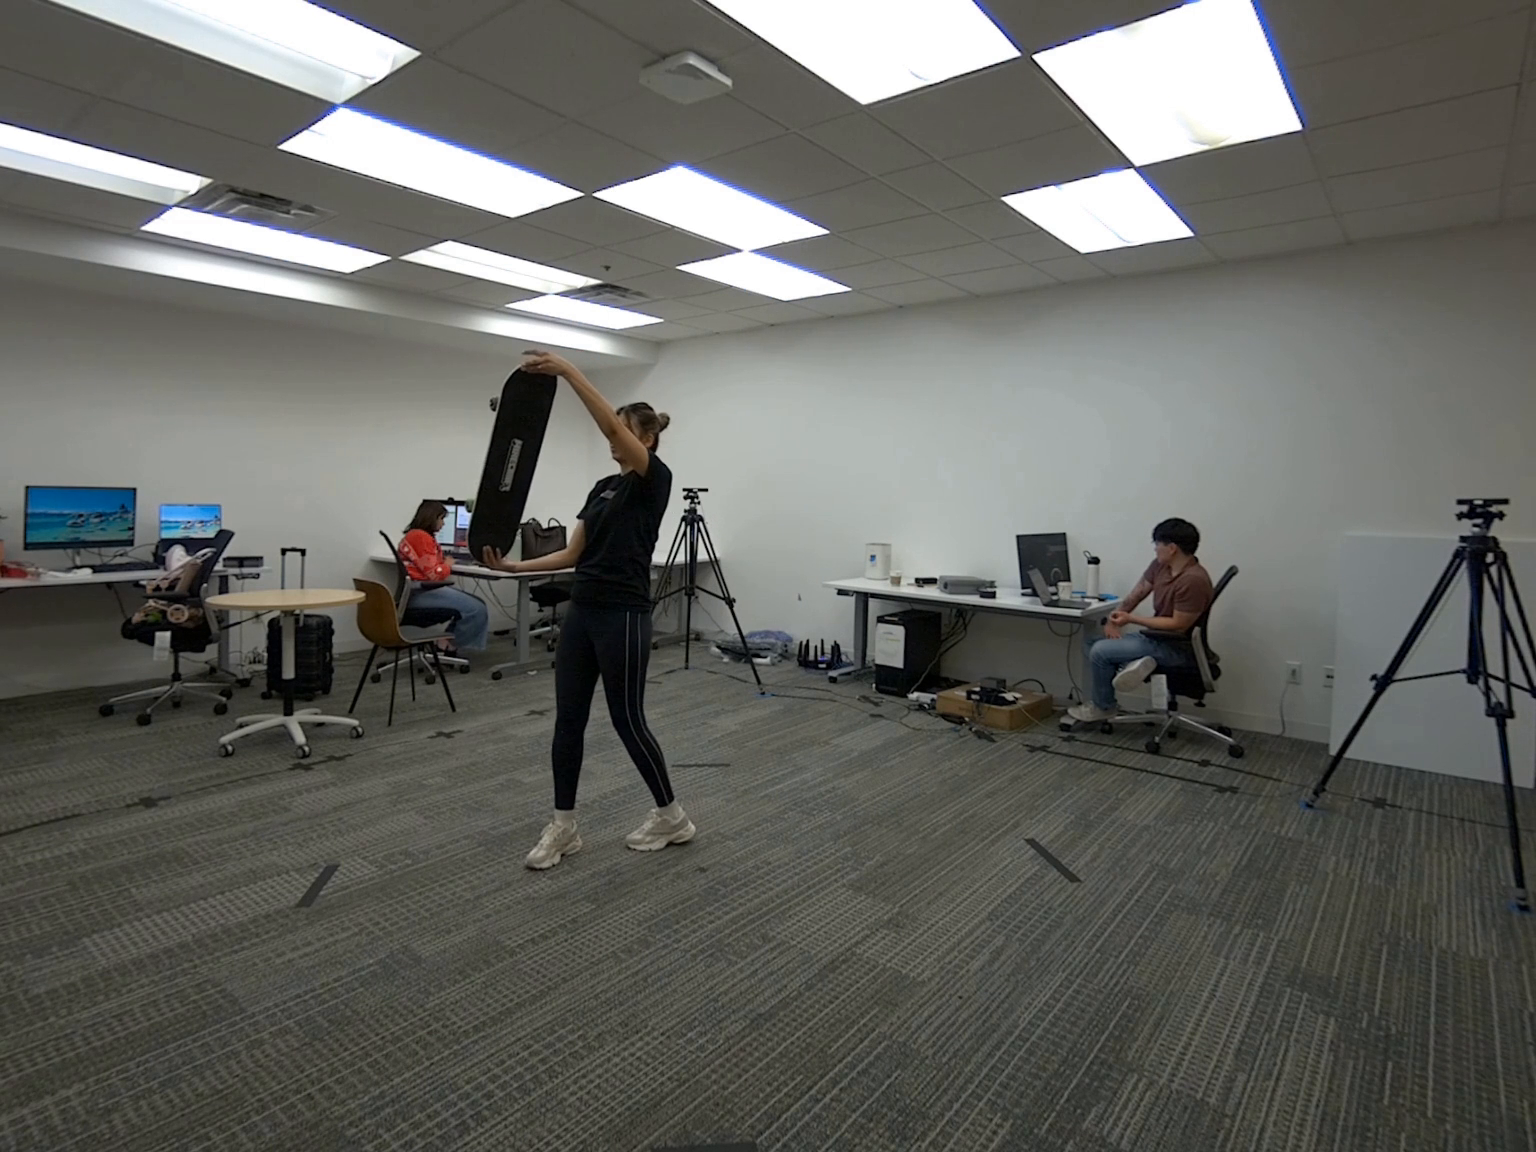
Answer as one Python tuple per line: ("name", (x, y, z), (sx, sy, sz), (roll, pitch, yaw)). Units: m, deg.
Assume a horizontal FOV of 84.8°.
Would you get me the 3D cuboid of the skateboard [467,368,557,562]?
("skateboard", (-0.919, -0.397, 2.953), (0.188, 0.776, 0.115), (-4, 36, -41))
